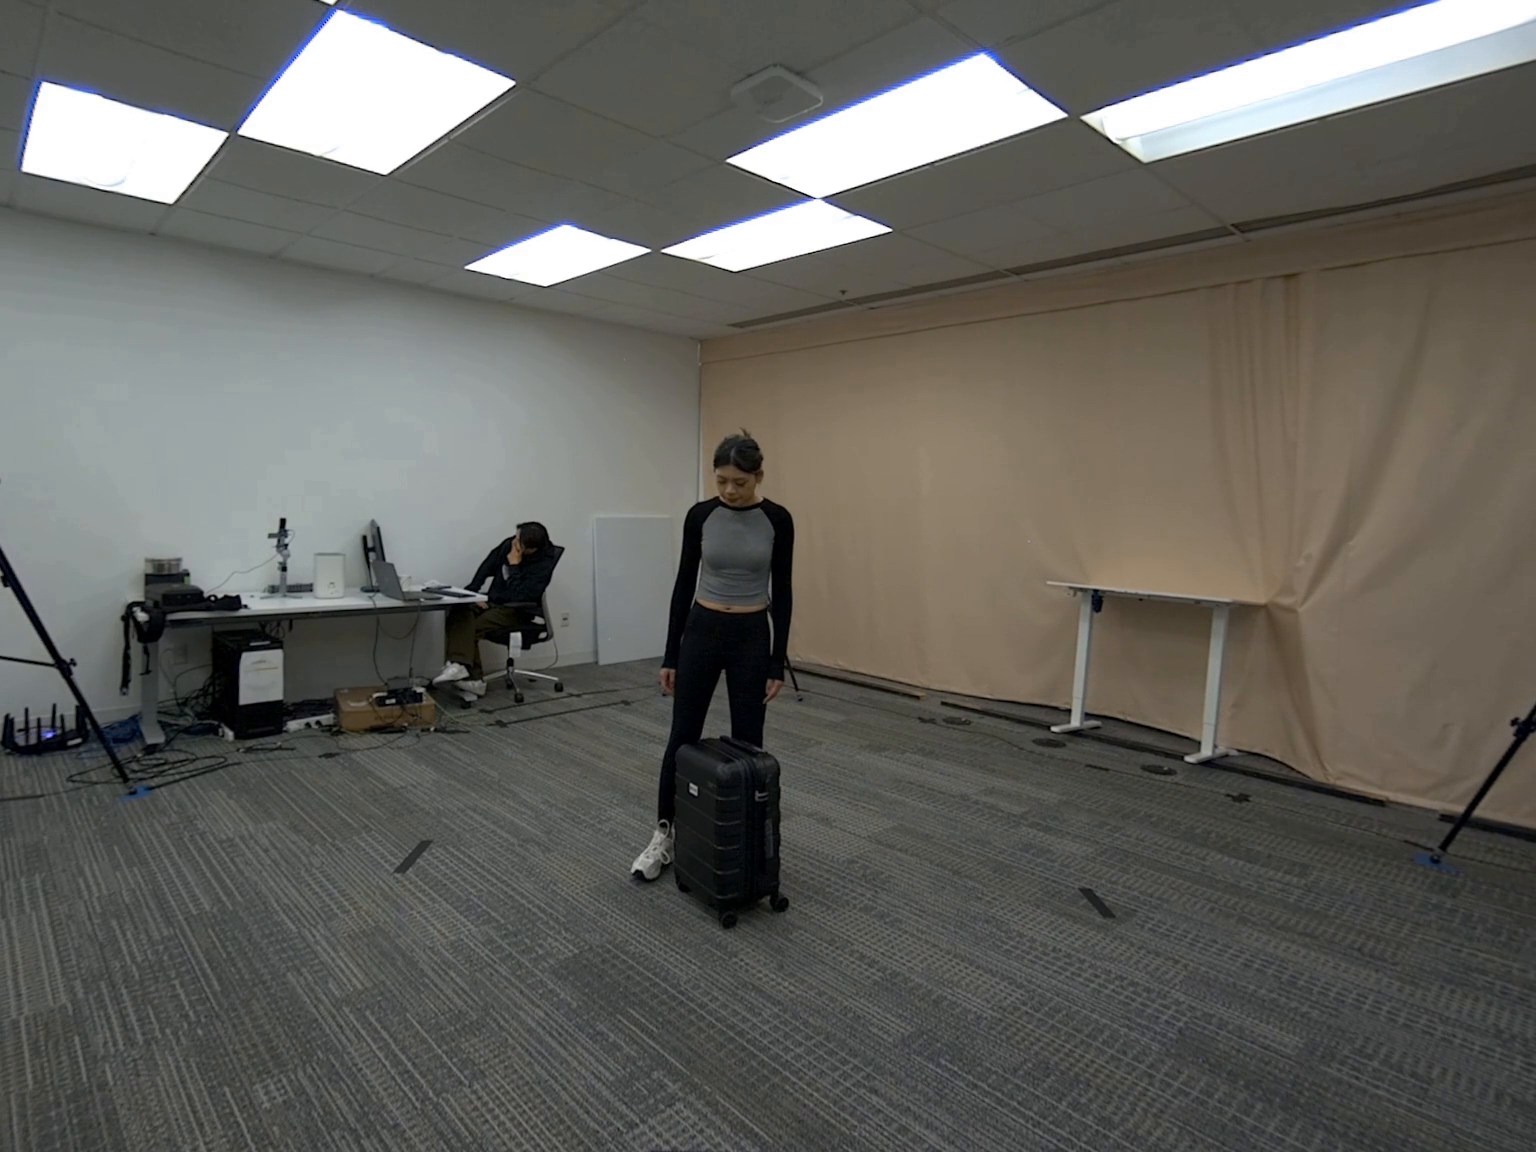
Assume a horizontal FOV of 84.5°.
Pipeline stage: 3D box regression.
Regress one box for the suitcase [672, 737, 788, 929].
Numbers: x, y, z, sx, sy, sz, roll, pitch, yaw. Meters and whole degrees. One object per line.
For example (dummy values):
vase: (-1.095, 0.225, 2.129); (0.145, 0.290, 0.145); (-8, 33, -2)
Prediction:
suitcase: (-0.143, 0.851, 2.889); (0.243, 0.547, 0.384); (-3, 6, -34)
